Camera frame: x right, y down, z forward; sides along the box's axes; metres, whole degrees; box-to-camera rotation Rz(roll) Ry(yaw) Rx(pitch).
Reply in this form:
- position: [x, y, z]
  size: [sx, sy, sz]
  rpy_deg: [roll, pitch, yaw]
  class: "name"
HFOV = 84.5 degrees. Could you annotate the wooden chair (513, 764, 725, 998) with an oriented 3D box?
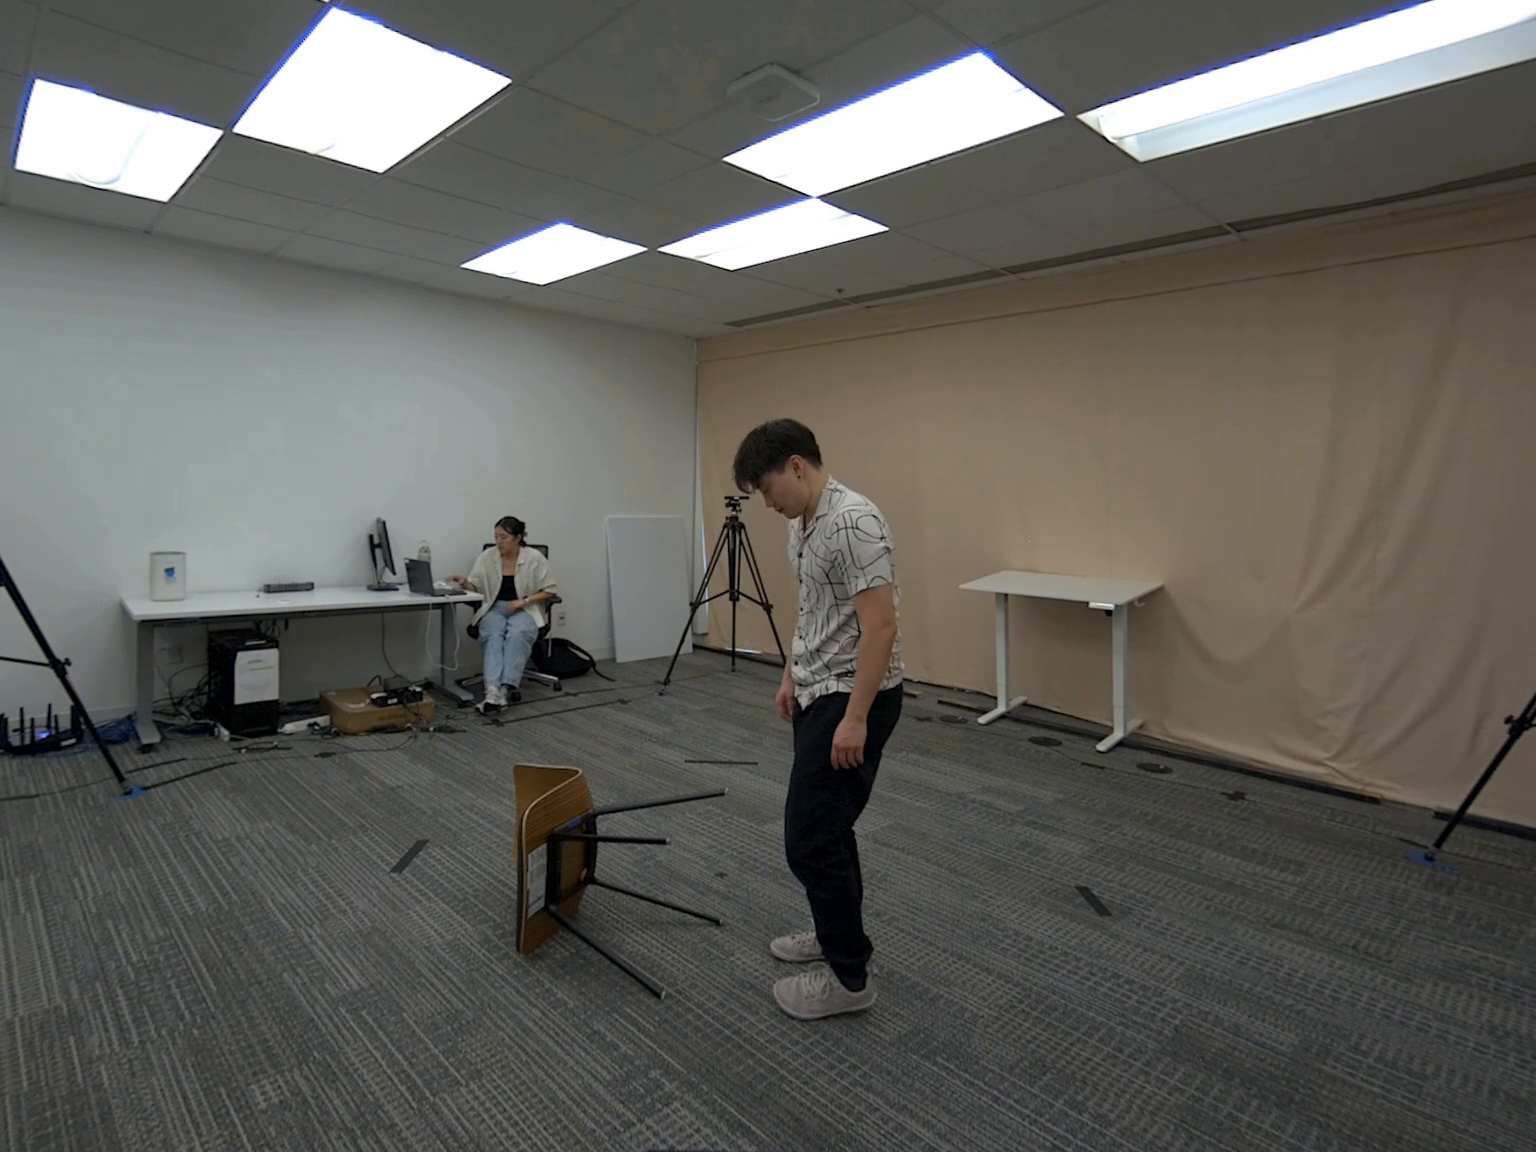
- position: [-0.626, 0.906, 2.662]
  size: [0.894, 0.476, 0.515]
  rpy_deg: [5, 5, 24]
  class: "wooden chair"
